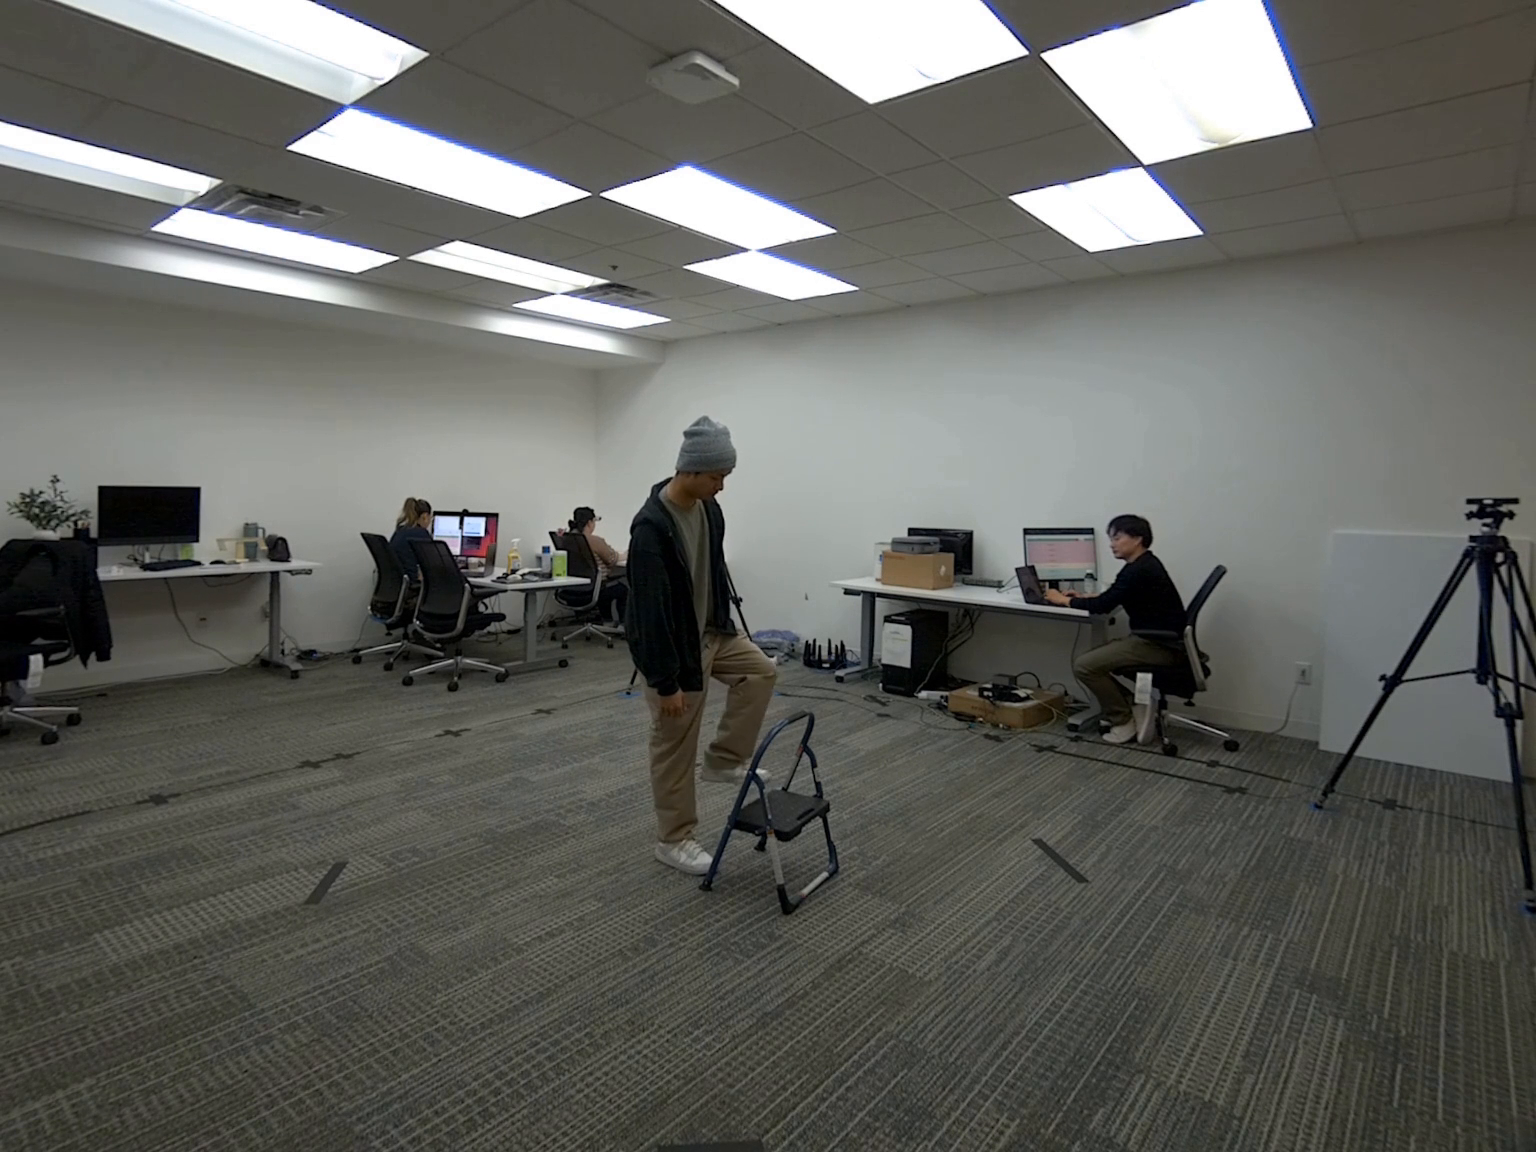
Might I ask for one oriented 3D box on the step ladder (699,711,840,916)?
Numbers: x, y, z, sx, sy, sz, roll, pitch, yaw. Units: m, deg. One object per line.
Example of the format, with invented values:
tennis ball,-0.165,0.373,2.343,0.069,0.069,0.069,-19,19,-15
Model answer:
step ladder,0.016,0.778,3.017,0.359,0.604,0.420,3,4,29
